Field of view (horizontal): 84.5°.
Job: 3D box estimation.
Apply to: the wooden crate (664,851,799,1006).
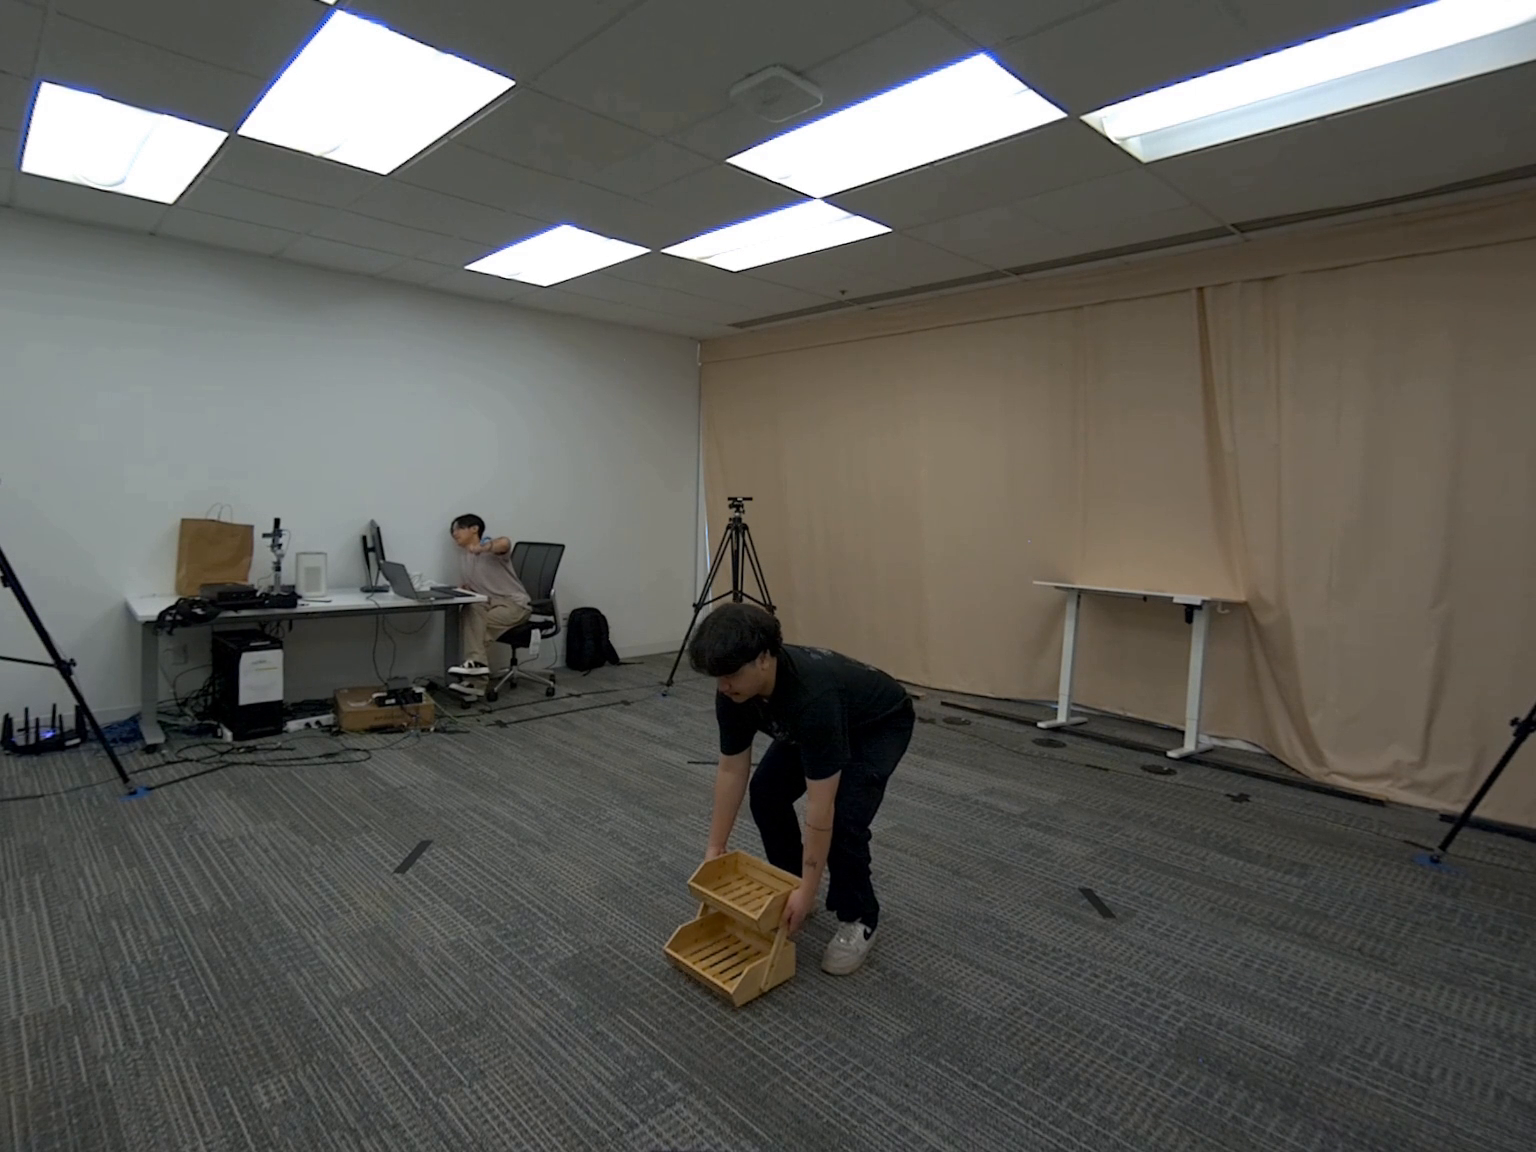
[{"bbox_3d":[-0.103,1.006,2.458,0.333,0.273,0.295,5,5,45],"label":"wooden crate"}]
